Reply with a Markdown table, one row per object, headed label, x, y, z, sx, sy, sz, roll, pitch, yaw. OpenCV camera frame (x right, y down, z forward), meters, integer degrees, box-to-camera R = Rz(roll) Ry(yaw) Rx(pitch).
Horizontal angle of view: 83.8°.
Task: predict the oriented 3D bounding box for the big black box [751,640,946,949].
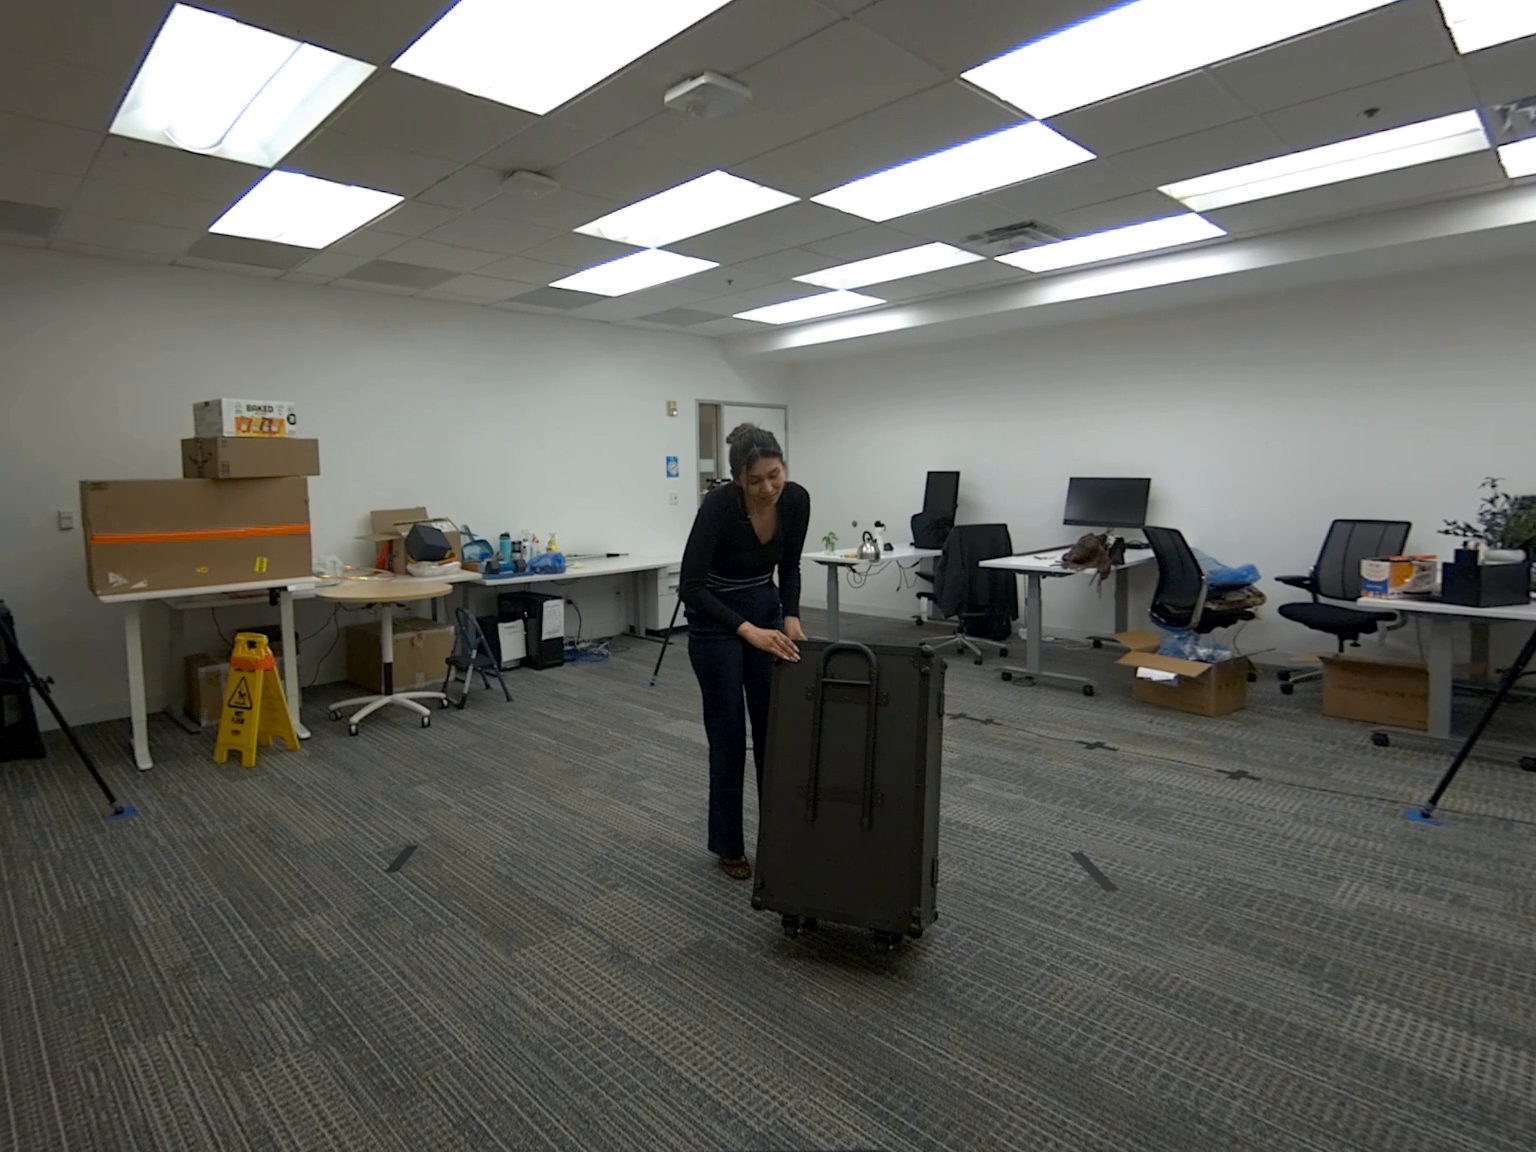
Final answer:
| label | x | y | z | sx | sy | sz | roll | pitch | yaw |
| --- | --- | --- | --- | --- | --- | --- | --- | --- | --- |
| big black box | 0.273 | 0.655 | 2.599 | 0.531 | 0.871 | 0.384 | 0 | -14 | 20 |
